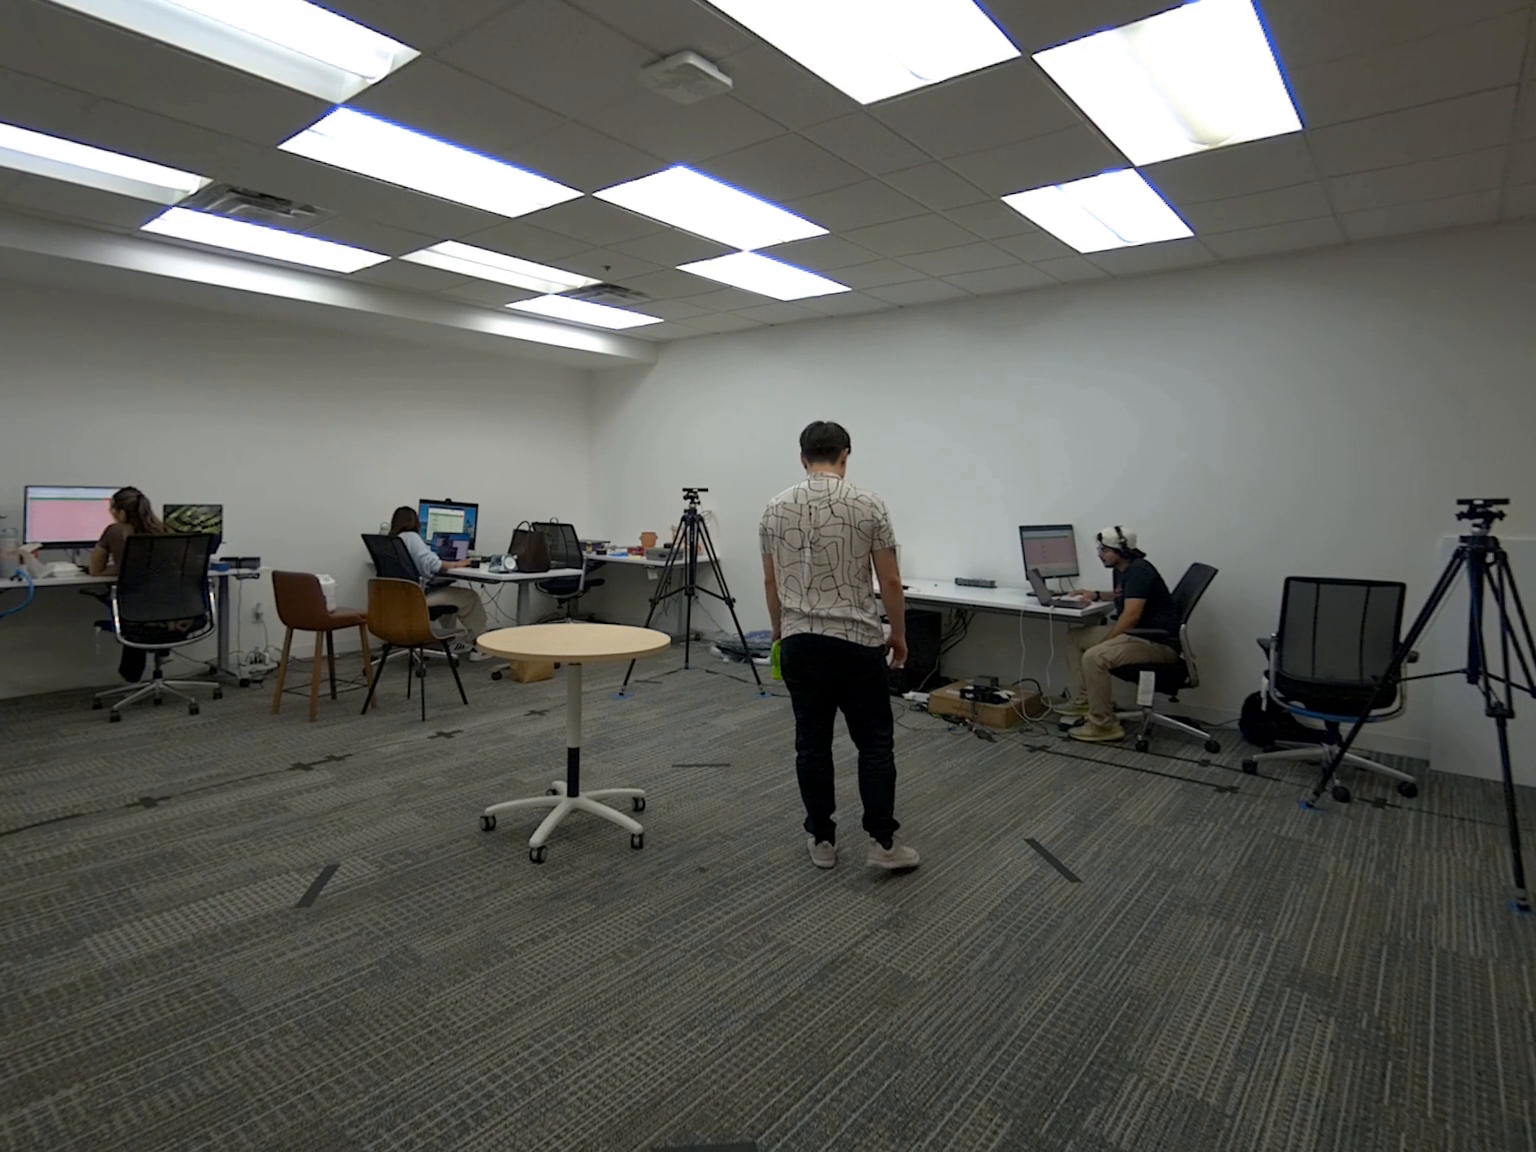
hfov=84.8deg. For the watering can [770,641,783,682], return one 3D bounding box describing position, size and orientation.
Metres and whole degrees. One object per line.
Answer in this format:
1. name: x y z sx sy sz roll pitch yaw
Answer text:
1. watering can: 0.100 0.344 3.515 0.269 0.178 0.101 7 -7 -36
